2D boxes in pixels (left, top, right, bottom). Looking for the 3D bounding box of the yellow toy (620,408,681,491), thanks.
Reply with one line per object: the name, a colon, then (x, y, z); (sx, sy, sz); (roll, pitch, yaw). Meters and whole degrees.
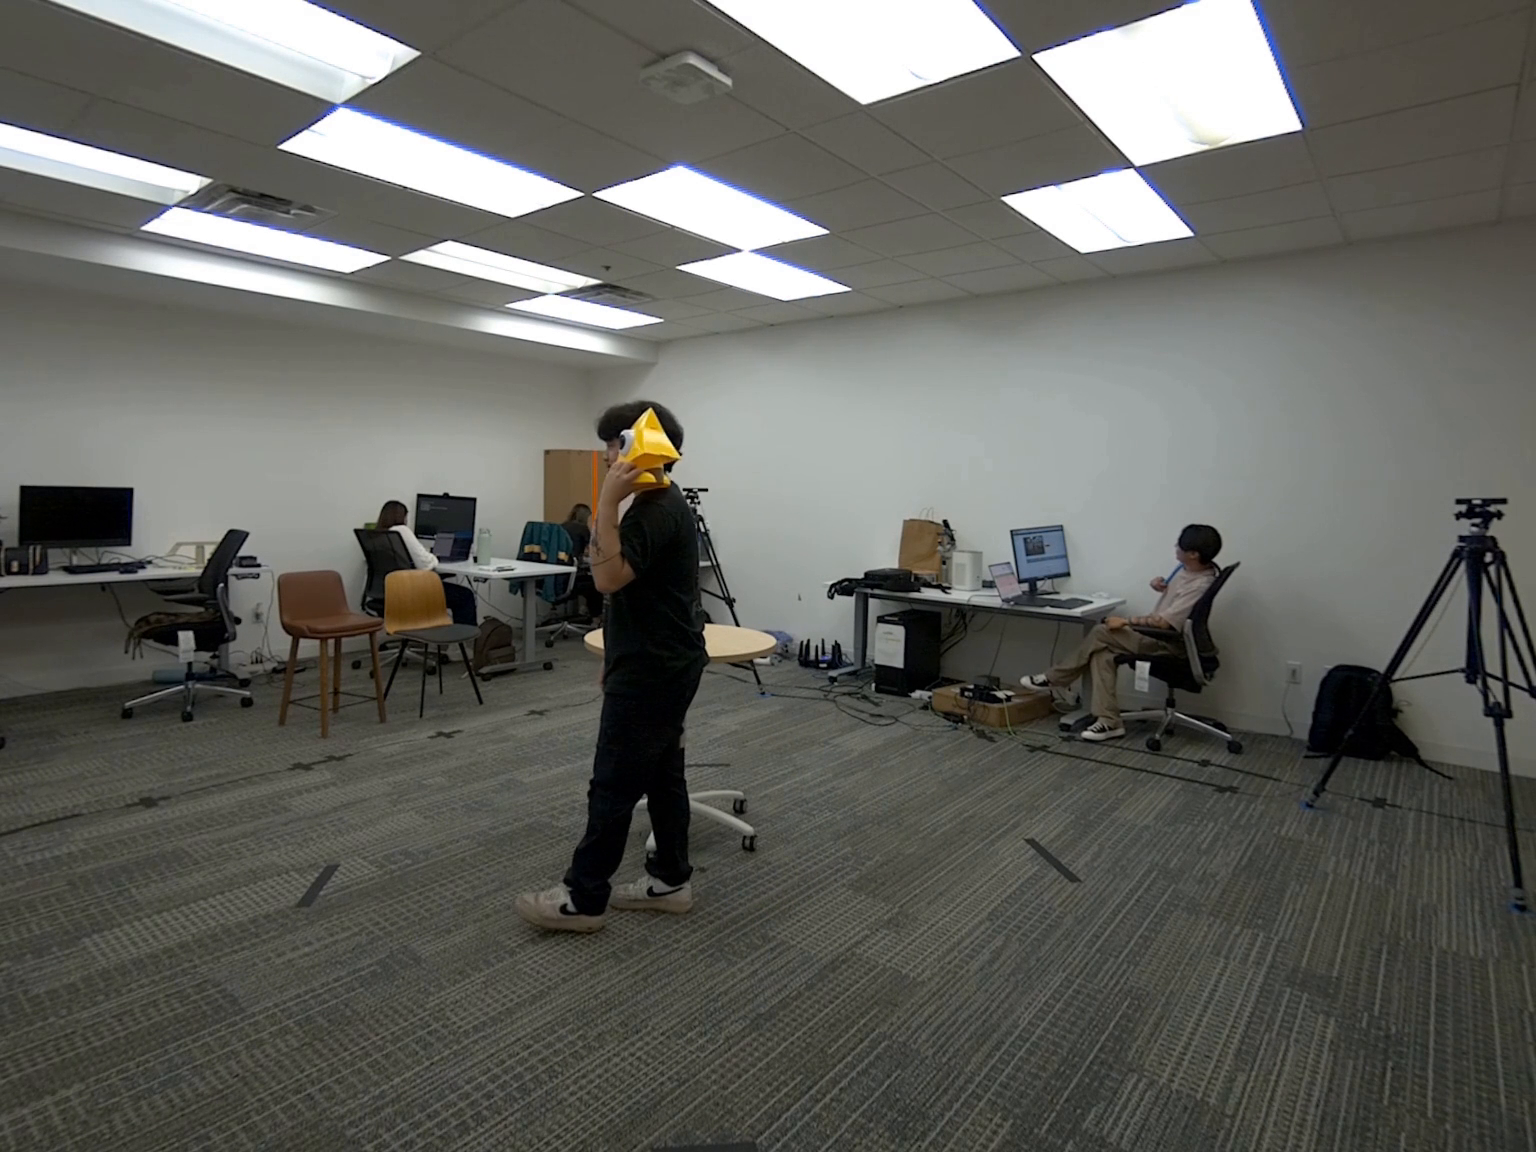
yellow toy: (-0.408, -0.391, 2.581); (0.197, 0.231, 0.200); (-7, -3, 25)
